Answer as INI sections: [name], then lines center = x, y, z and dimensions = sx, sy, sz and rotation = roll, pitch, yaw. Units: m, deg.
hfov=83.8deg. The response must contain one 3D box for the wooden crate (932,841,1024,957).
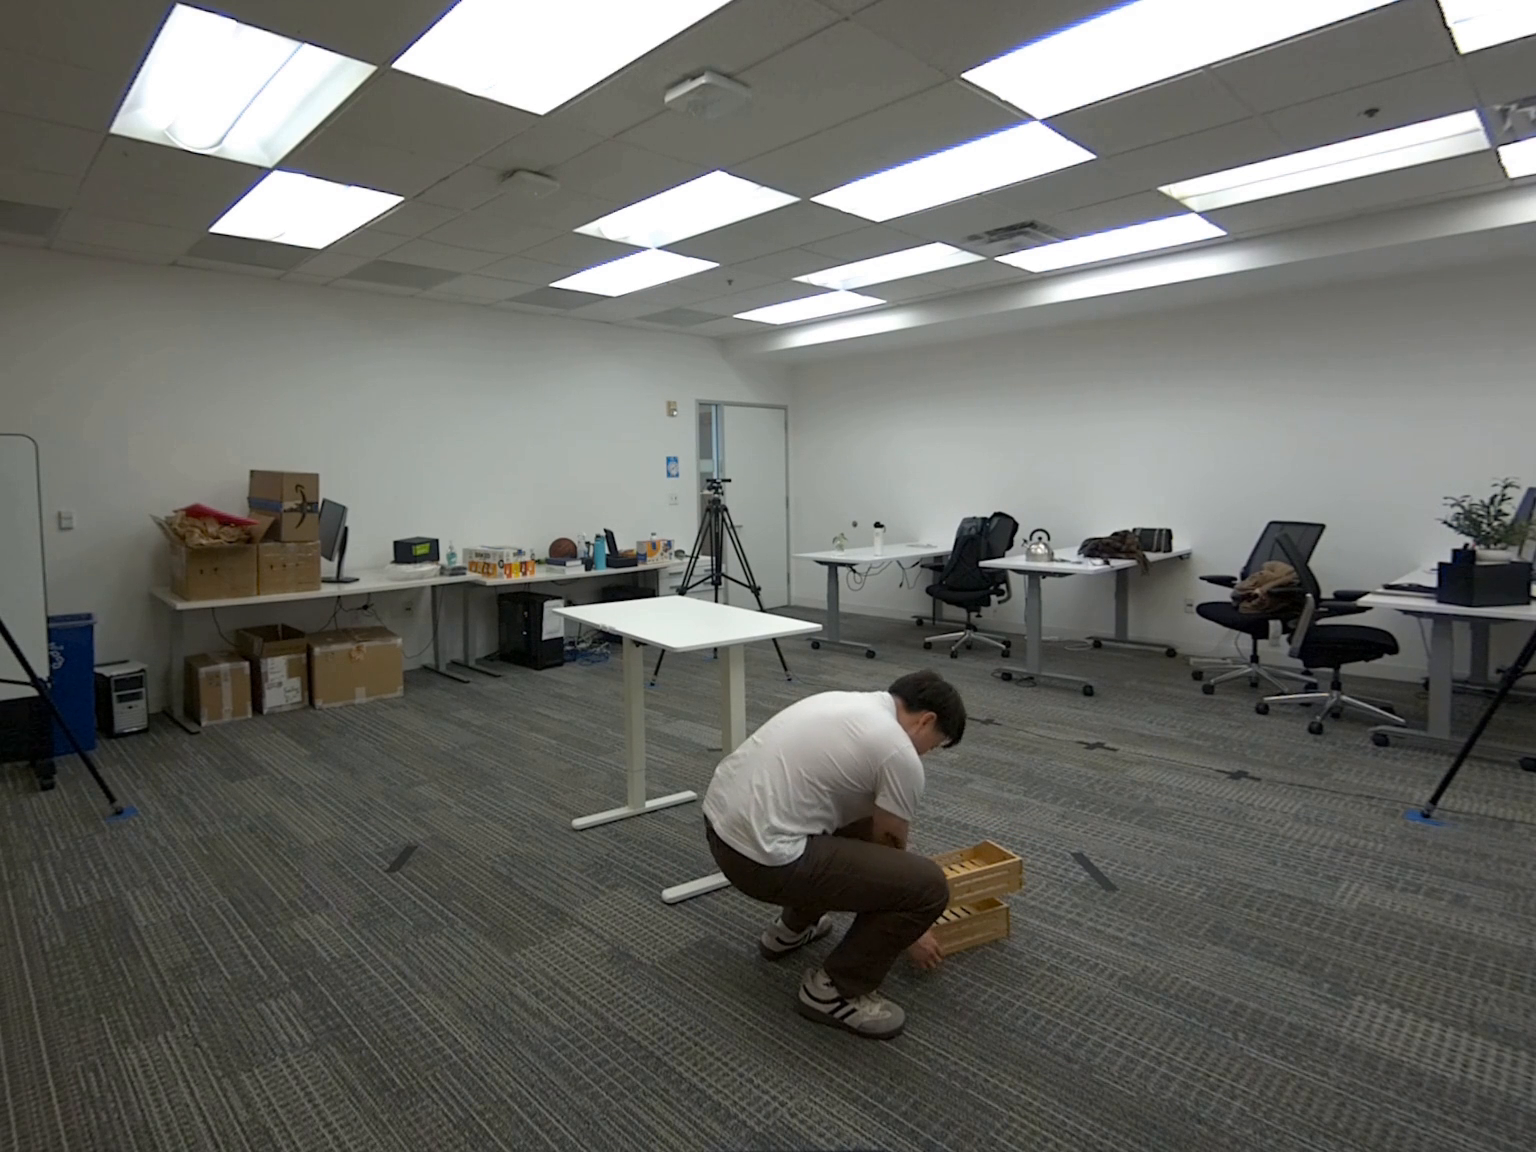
[wooden crate]
center = 0.550, 0.951, 2.614
dimensions = 0.317, 0.272, 0.310
rotation = -4, 7, -27
